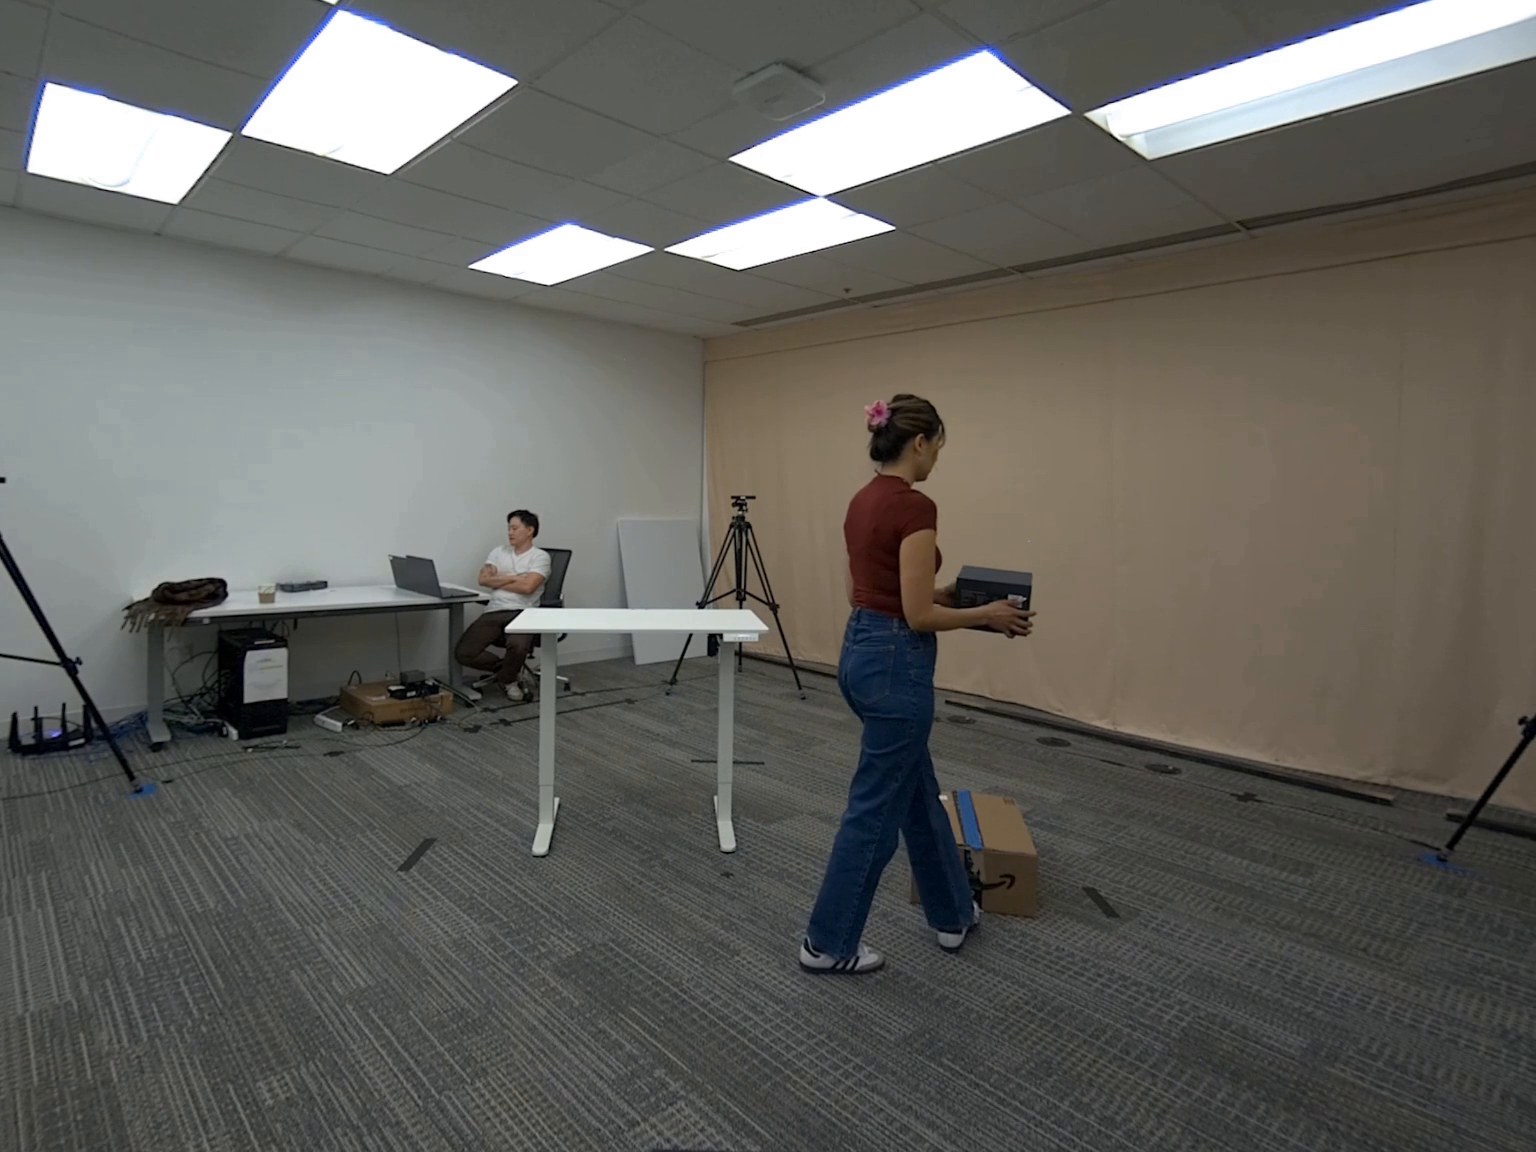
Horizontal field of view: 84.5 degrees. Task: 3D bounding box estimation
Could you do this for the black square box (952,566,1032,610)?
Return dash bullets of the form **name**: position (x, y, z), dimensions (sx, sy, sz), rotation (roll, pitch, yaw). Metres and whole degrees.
- **black square box**: position (0.691, 0.066, 2.590), dimensions (0.220, 0.155, 0.226), rotation (6, 10, 15)
